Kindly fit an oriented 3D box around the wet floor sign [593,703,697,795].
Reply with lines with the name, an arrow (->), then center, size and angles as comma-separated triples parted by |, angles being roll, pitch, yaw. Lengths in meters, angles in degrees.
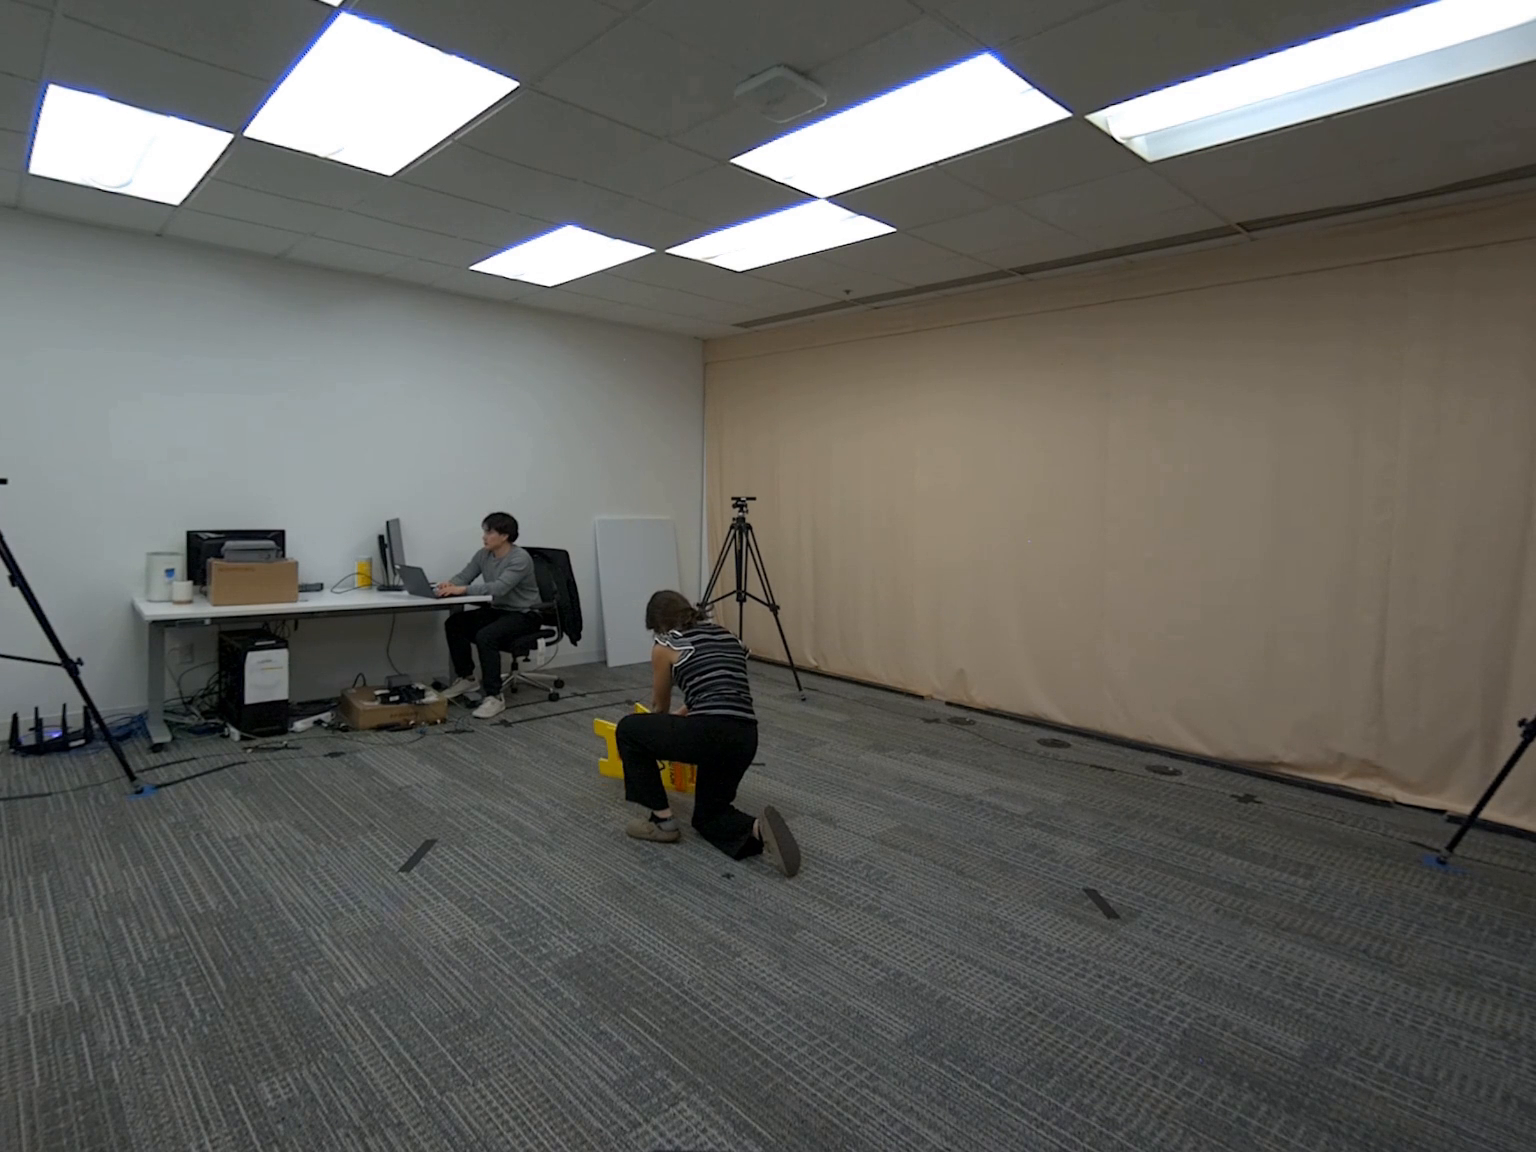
wet floor sign -> -0.515, 0.831, 3.874 | 0.284, 0.280, 0.663 | -13, 16, -42
